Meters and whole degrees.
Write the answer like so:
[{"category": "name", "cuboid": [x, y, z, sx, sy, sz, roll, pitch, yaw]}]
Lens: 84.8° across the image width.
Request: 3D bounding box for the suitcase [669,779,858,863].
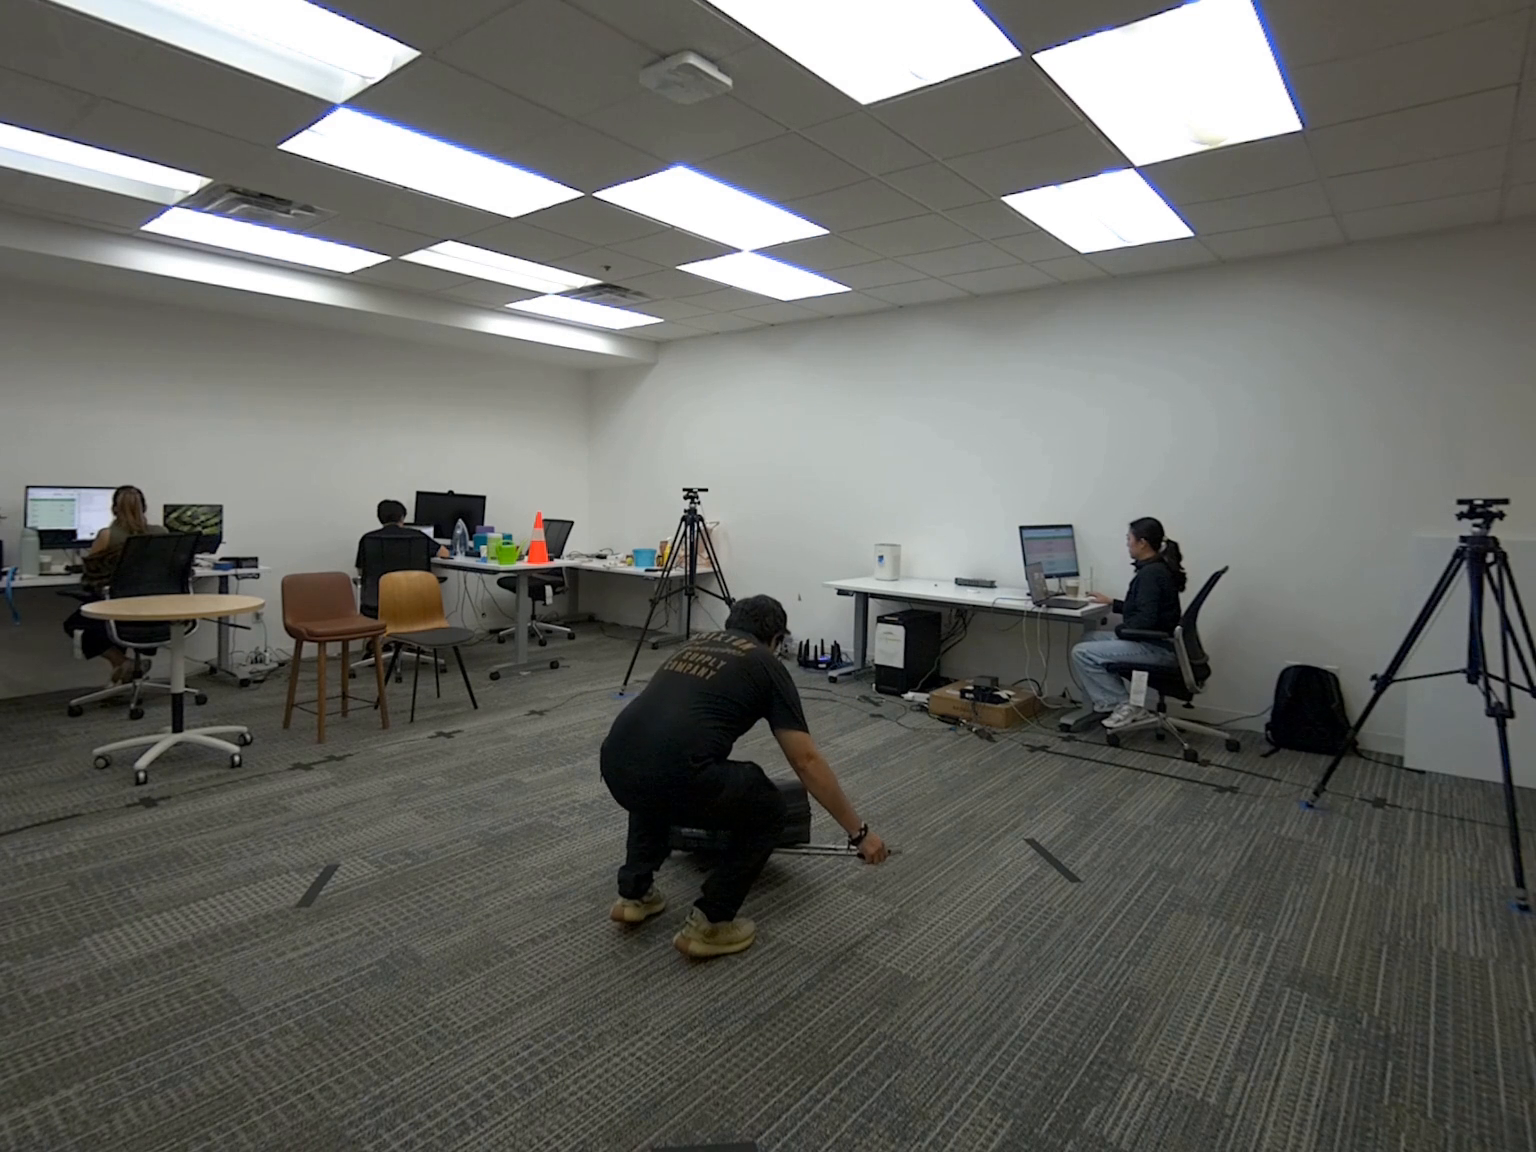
[{"category": "suitcase", "cuboid": [0.005, 0.842, 3.003, 0.371, 0.260, 1.000, 8, -16, -41]}]
